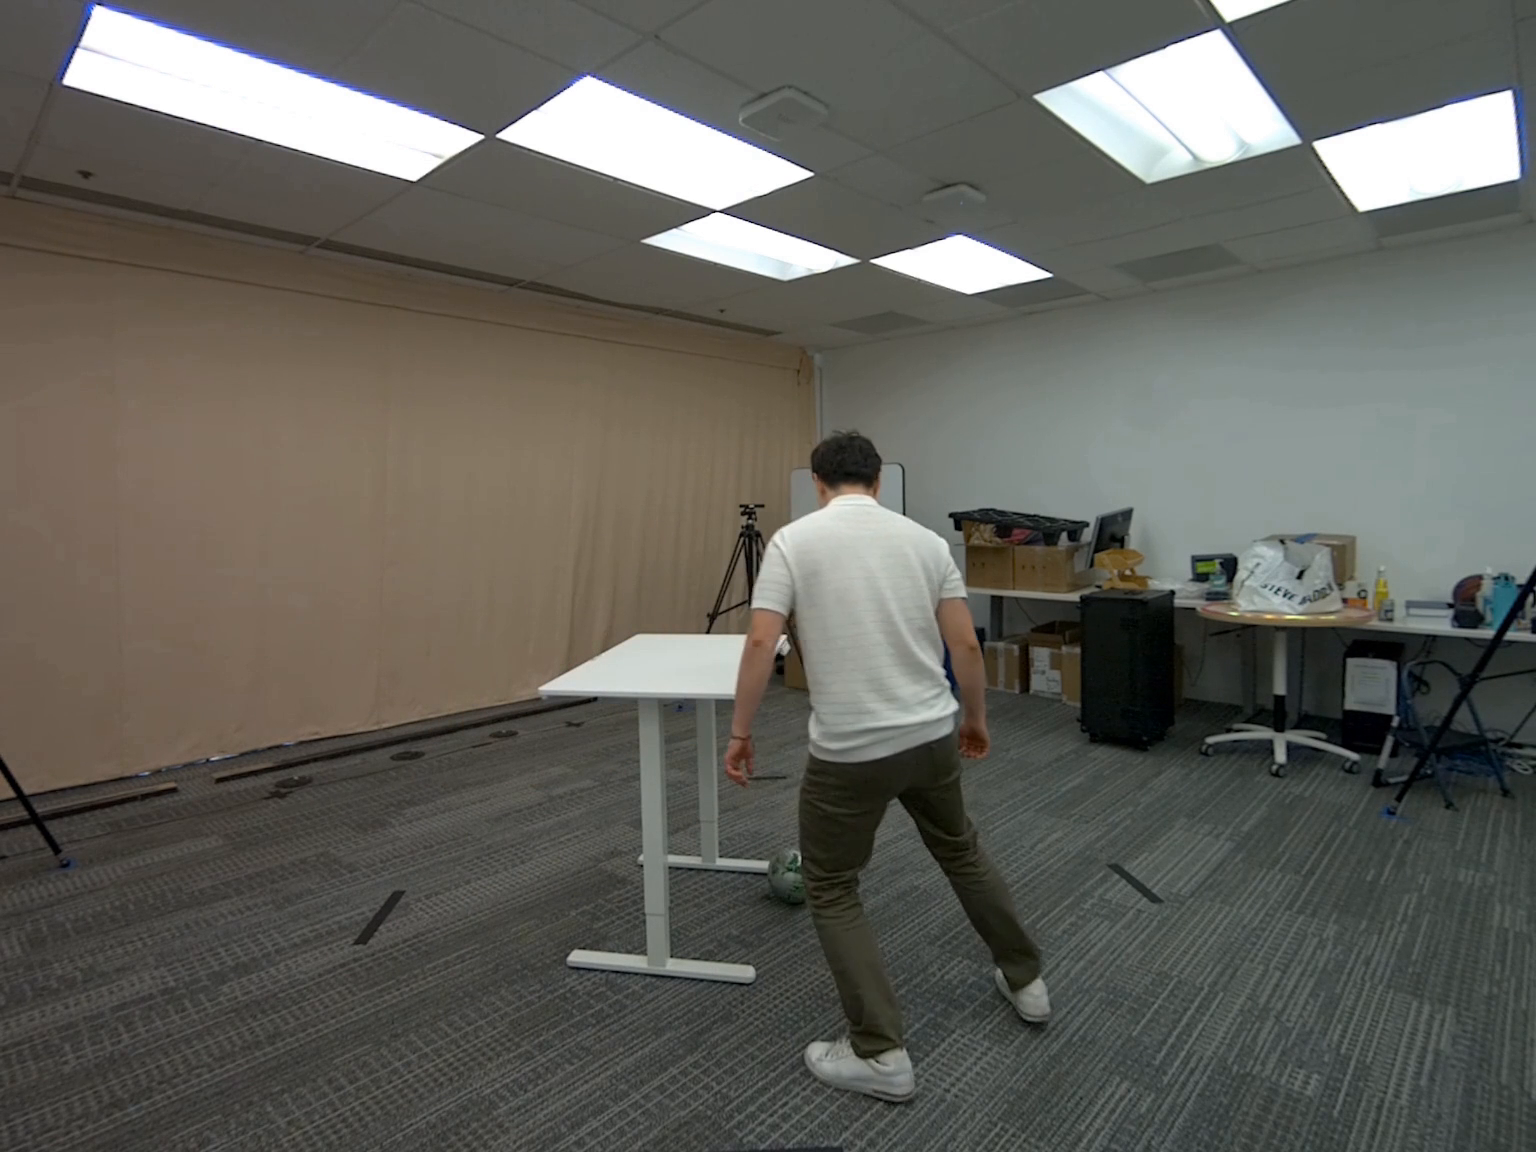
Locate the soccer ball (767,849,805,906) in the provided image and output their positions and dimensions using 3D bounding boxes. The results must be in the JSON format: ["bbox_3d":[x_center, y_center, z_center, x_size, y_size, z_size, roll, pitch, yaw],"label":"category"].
[{"bbox_3d":[0.092,1.044,2.950,0.187,0.187,0.188,-1,4,-2],"label":"soccer ball"}]
